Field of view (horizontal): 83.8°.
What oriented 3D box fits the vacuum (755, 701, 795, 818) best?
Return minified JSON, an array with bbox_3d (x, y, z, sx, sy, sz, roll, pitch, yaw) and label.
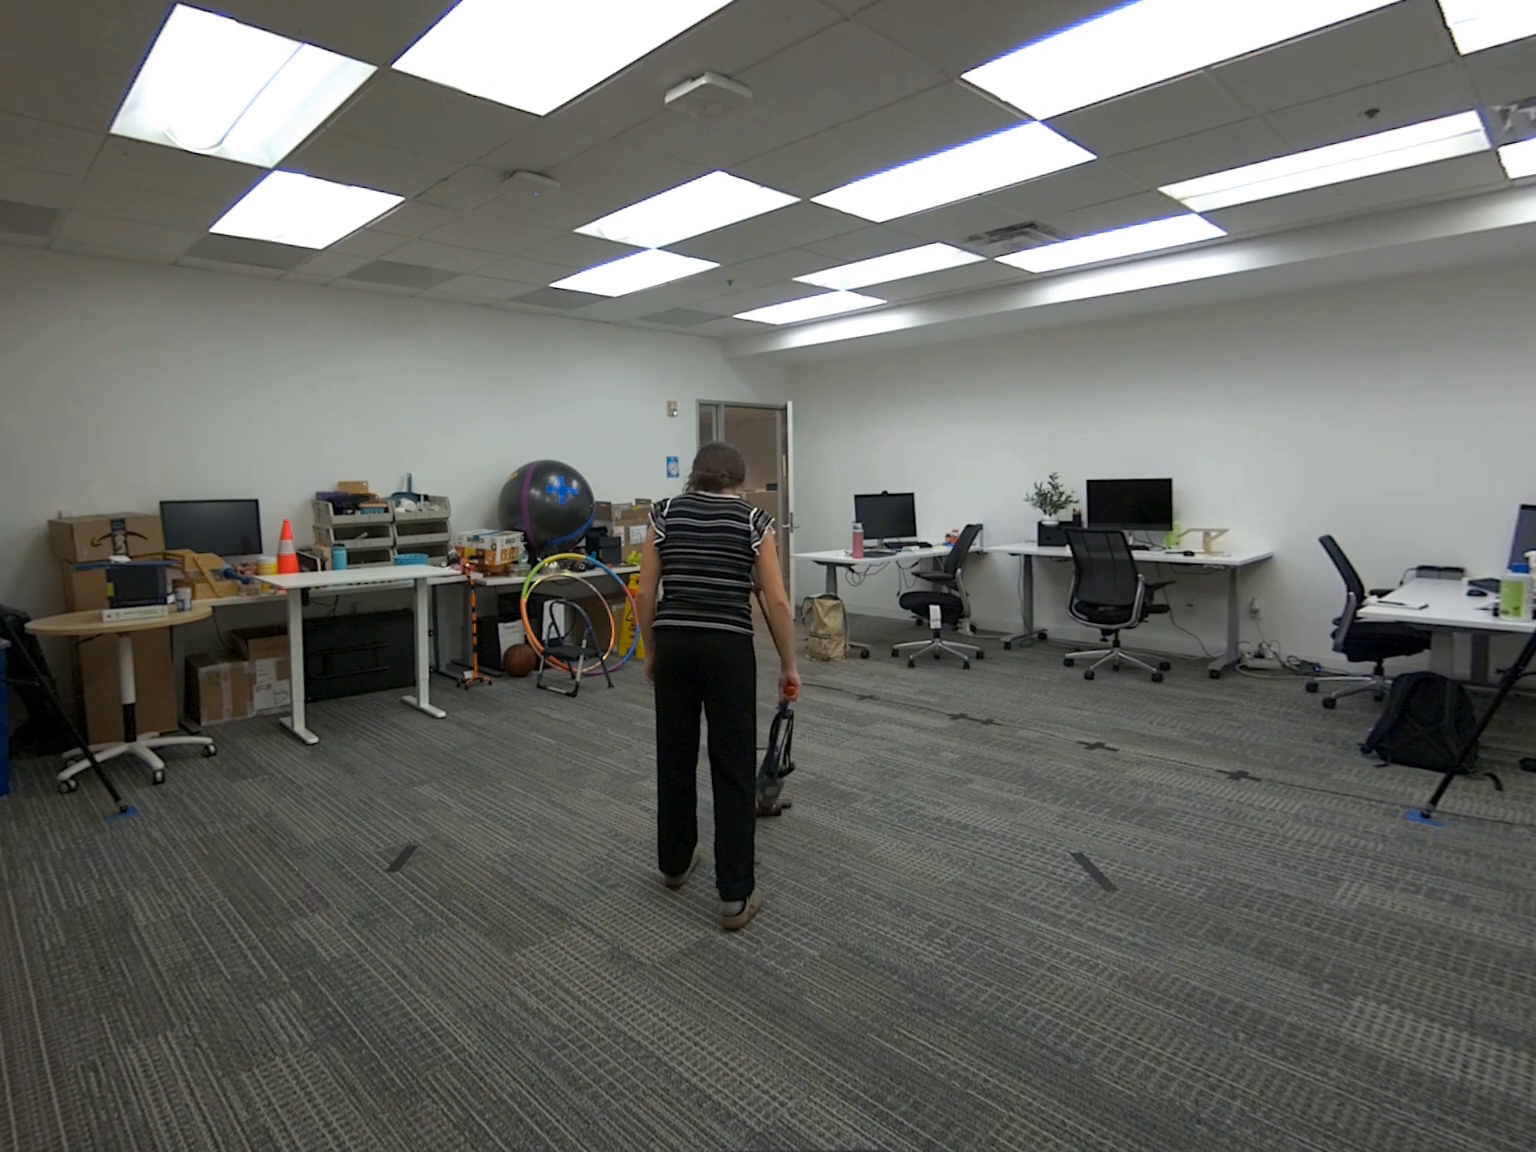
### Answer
[{"bbox_3d":[0.031,0.674,3.192,0.251,0.148,1.026,1,-36,-6],"label":"vacuum"}]
